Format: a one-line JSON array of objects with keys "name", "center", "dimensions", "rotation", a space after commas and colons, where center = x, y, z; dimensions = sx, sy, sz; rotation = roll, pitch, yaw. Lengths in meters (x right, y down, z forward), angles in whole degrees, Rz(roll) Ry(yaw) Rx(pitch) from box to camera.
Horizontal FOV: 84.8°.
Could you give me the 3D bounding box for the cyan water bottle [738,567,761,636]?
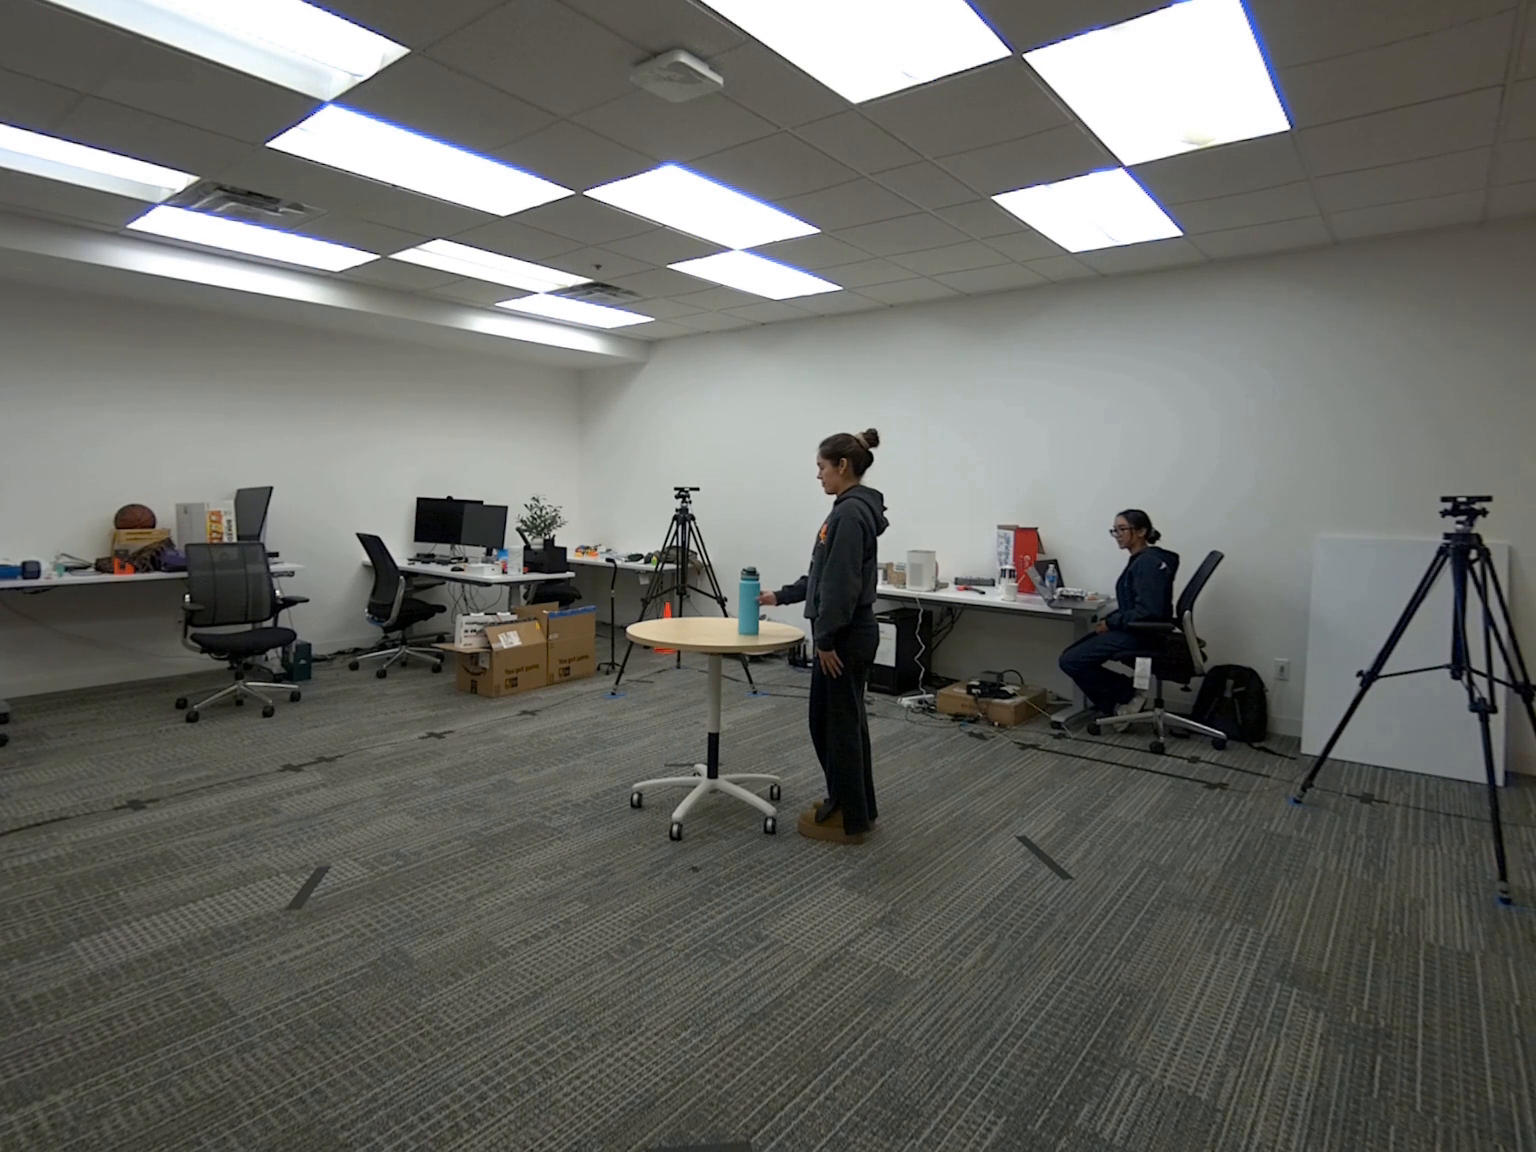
[{"name": "cyan water bottle", "center": [-0.078, 0.099, 3.597], "dimensions": [0.092, 0.283, 0.092], "rotation": [1, 1, -2]}]
